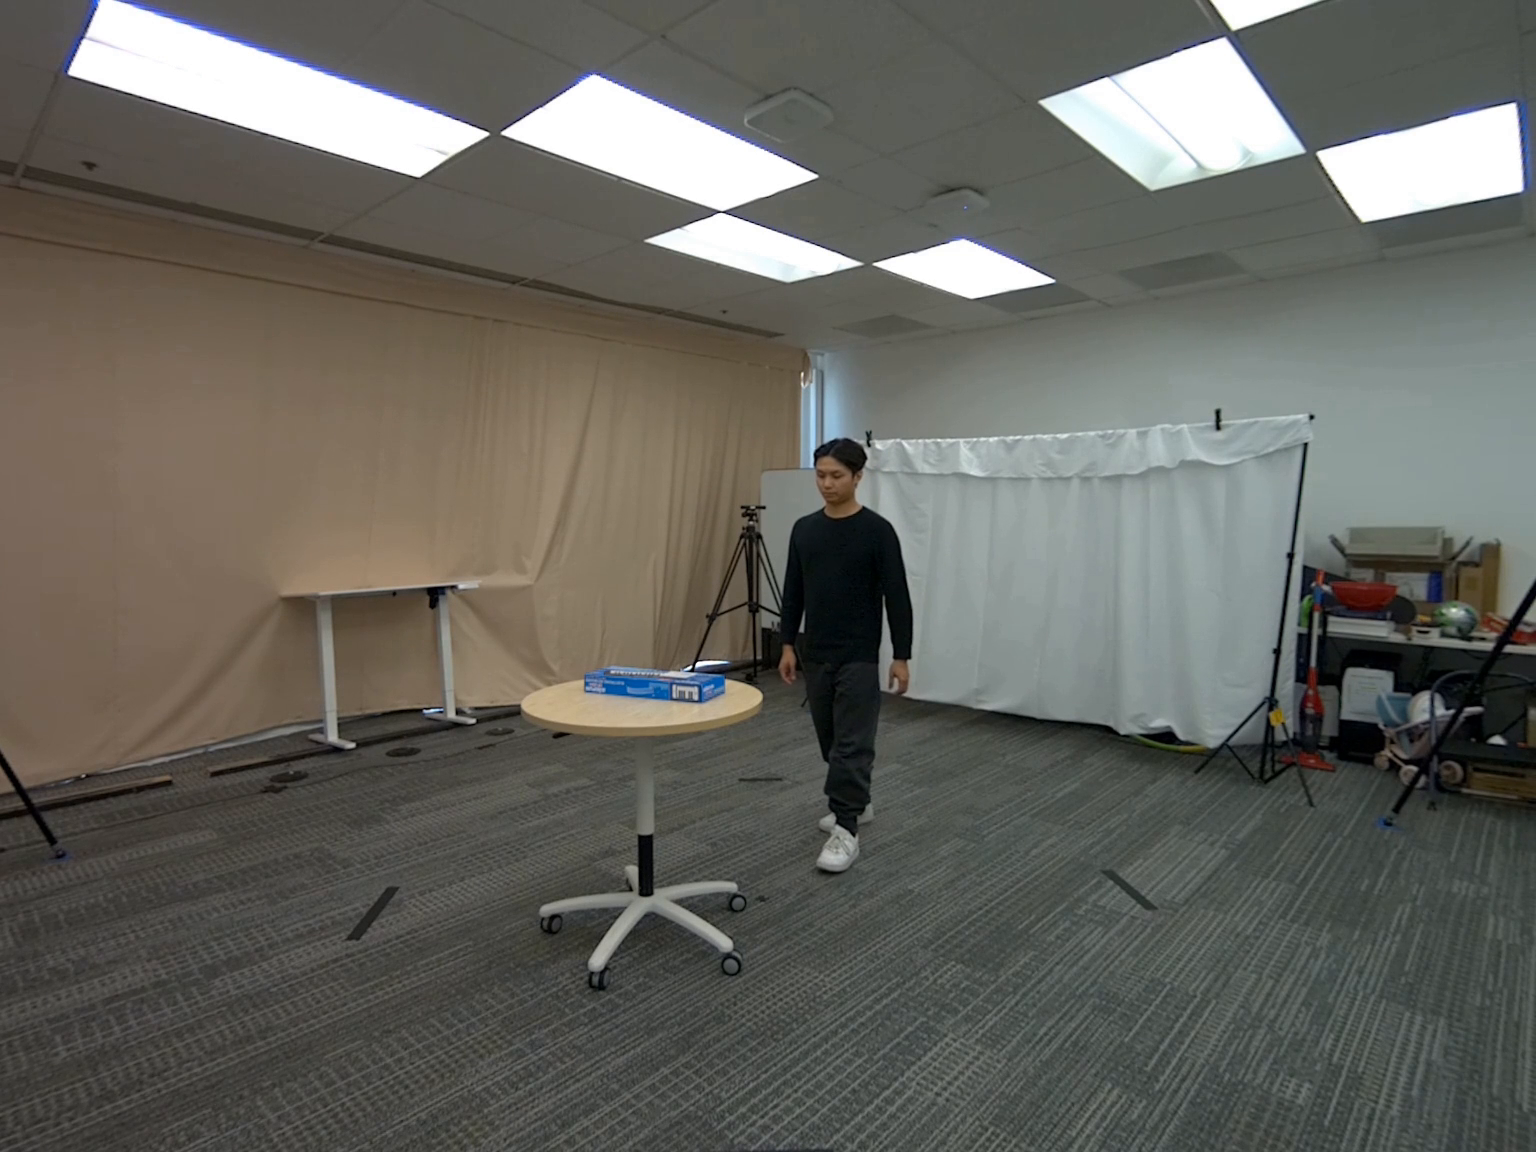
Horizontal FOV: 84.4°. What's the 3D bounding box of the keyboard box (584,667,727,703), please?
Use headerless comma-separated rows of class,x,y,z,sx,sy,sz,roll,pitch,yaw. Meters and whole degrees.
keyboard box,-0.370,0.352,2.761,0.448,0.059,0.172,1,4,24
